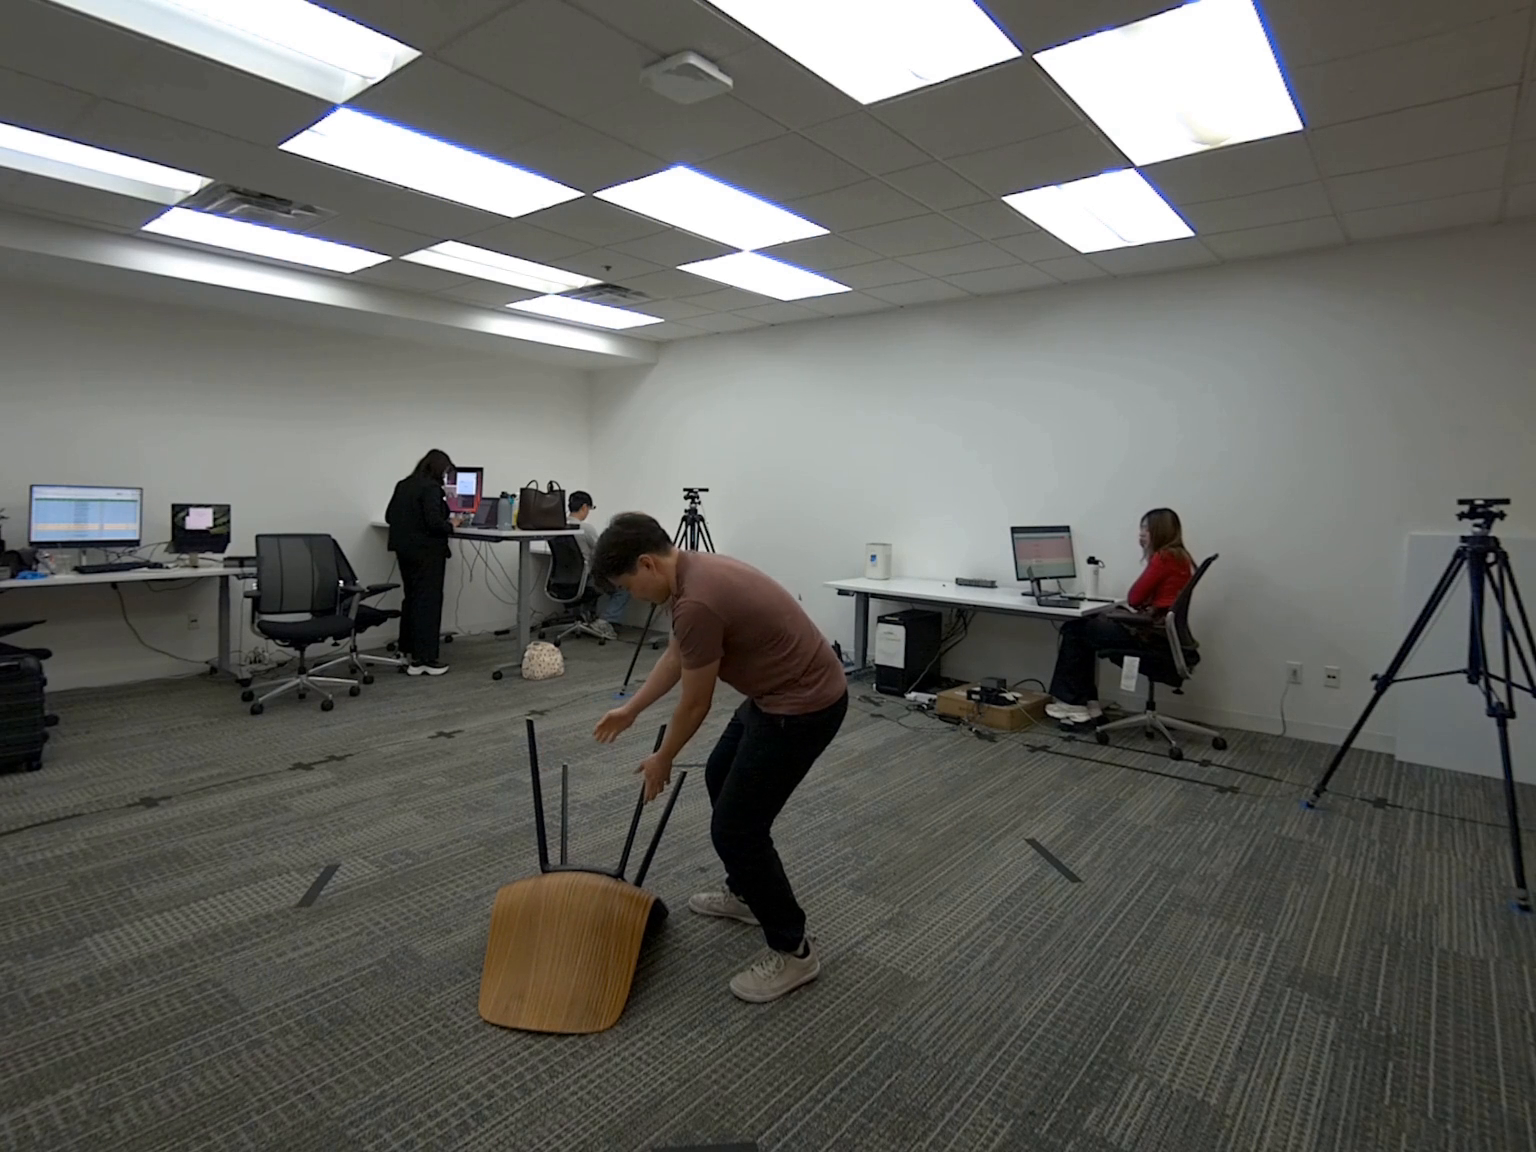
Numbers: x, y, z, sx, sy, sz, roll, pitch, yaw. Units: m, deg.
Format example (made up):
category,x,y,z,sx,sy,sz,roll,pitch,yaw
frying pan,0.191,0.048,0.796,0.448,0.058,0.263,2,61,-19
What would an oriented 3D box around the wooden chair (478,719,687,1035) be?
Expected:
category,x,y,z,sx,sy,sz,roll,pitch,yaw
wooden chair,-0.552,0.943,2.611,0.481,0.899,0.507,1,-36,5
